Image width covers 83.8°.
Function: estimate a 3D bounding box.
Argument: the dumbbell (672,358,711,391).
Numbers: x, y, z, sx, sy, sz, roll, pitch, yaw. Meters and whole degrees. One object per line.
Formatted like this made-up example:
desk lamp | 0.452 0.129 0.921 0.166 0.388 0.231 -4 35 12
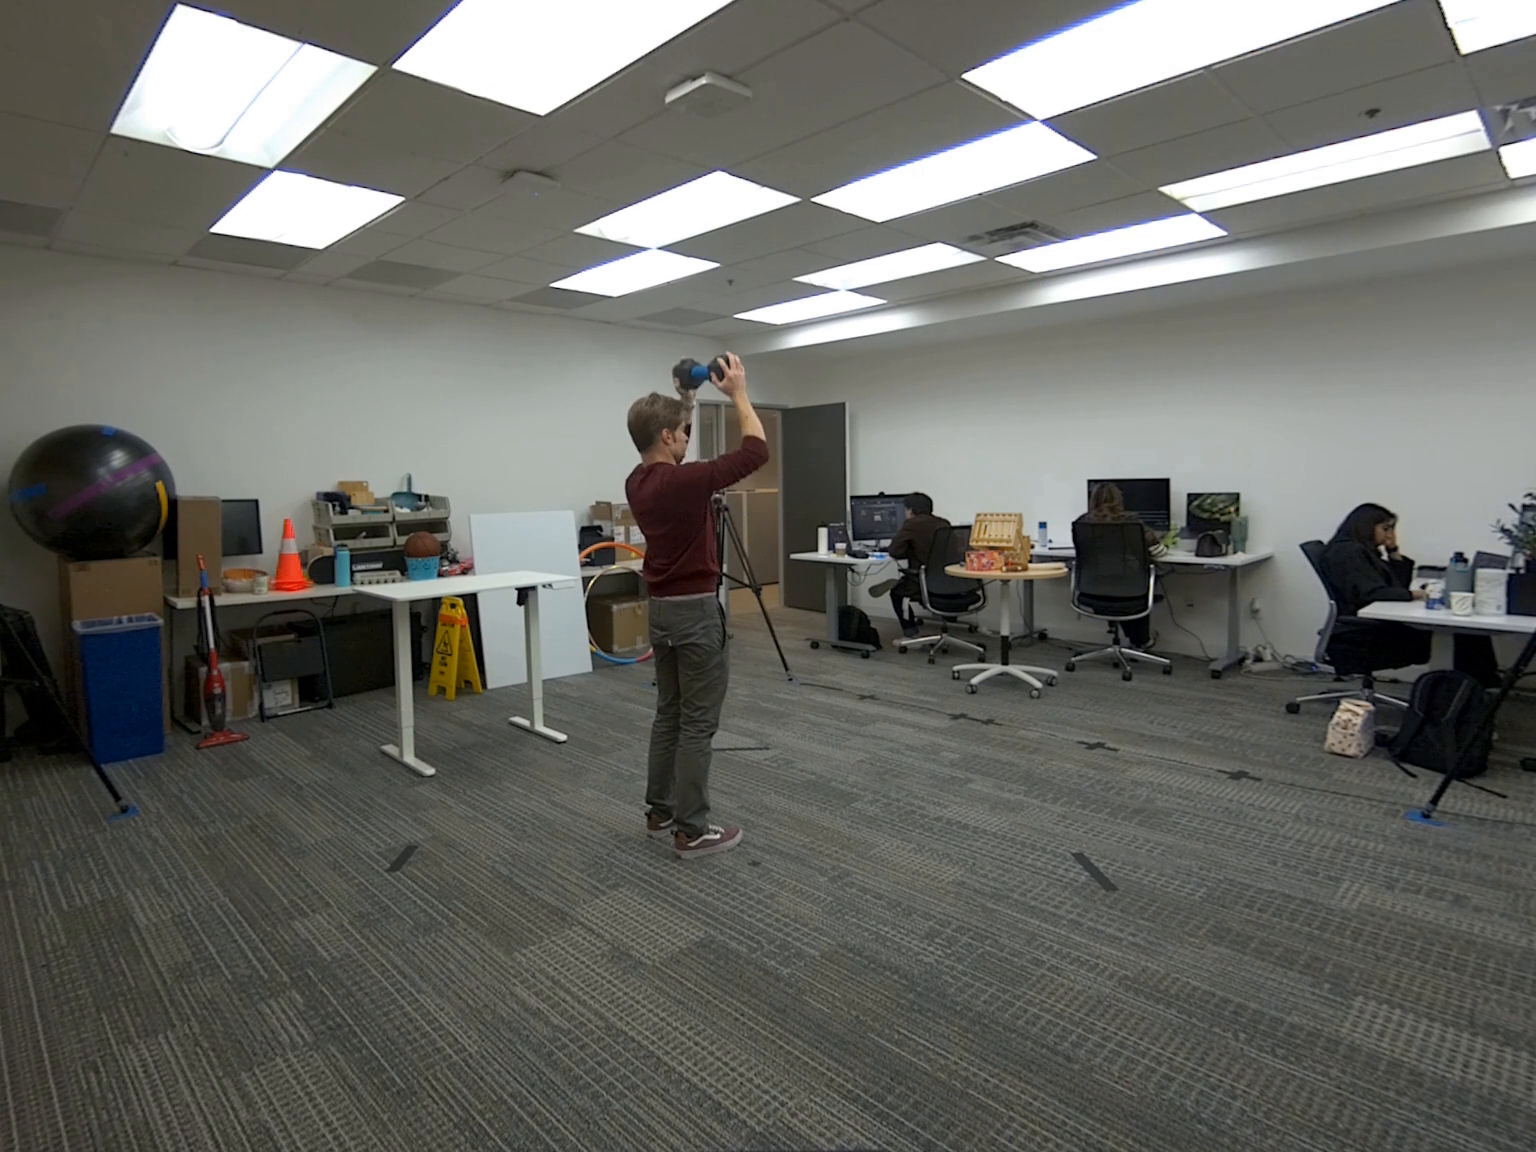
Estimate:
dumbbell | -0.237 -0.771 3.275 0.107 0.121 0.303 -19 20 -37
